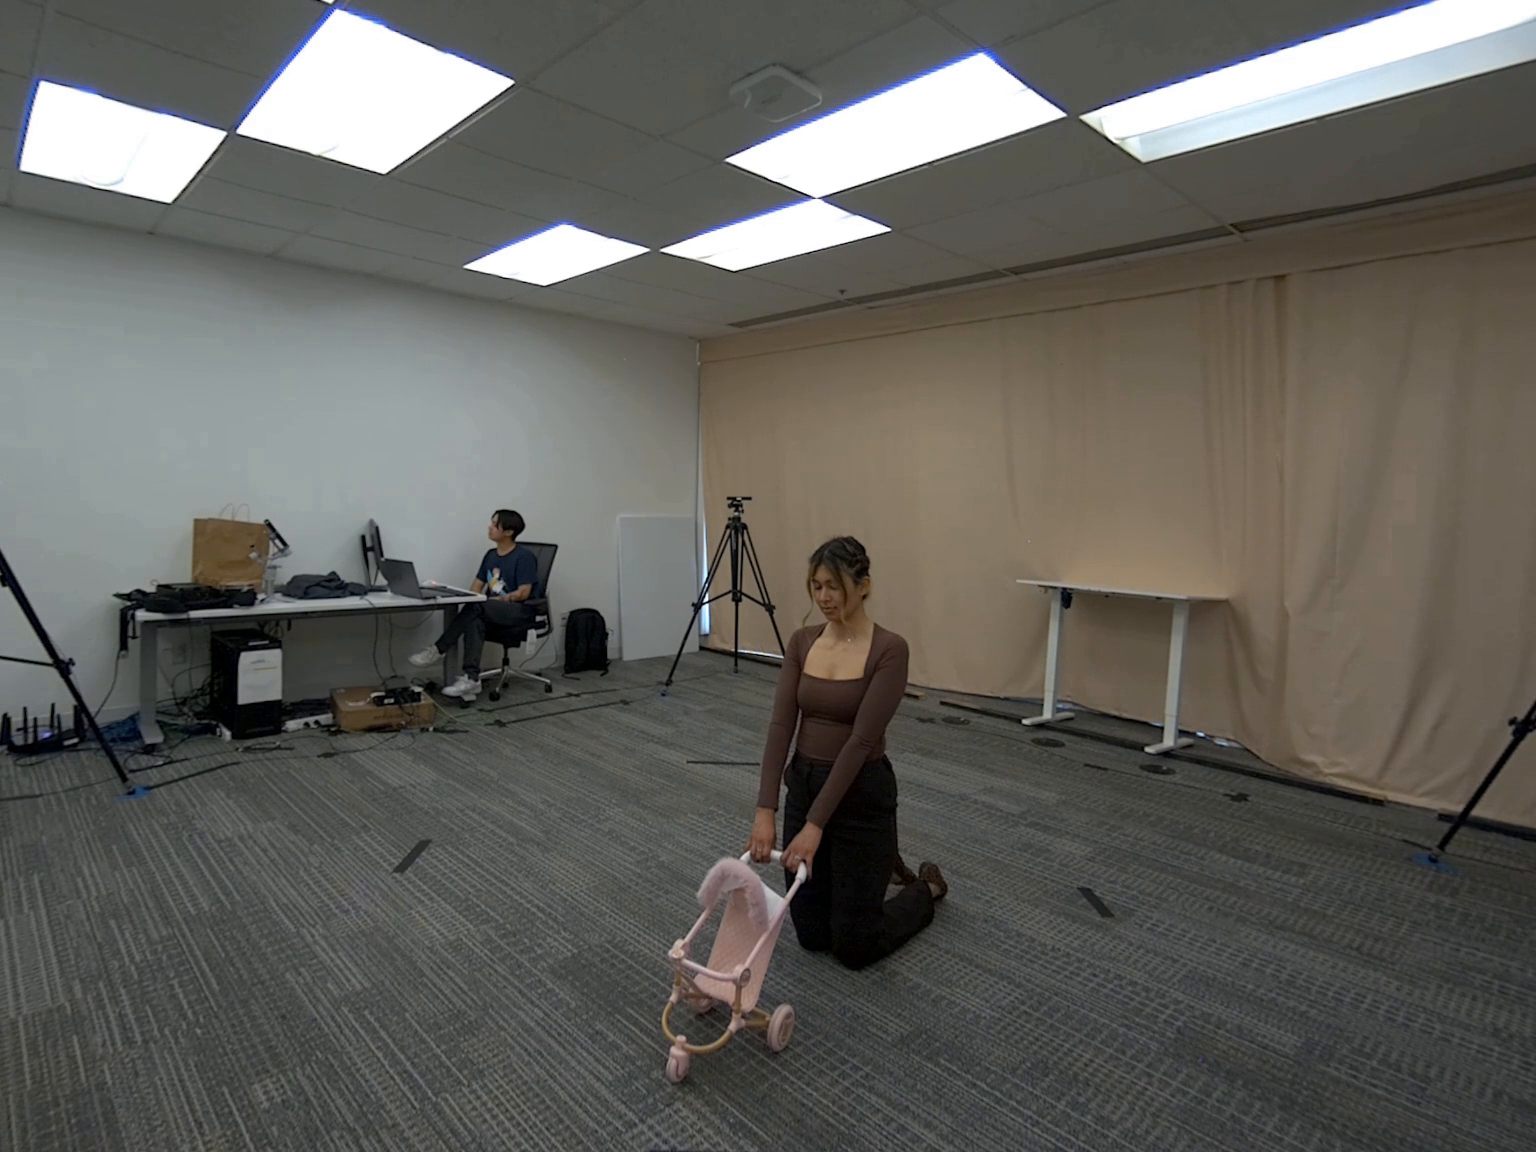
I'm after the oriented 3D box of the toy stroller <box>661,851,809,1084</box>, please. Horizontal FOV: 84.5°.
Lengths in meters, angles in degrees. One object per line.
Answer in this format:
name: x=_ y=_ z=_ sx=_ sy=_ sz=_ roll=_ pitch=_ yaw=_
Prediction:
toy stroller: x=-0.106 y=0.974 z=2.148 sx=0.288 sy=0.538 sz=0.331 roll=4 pitch=-13 yaw=40
